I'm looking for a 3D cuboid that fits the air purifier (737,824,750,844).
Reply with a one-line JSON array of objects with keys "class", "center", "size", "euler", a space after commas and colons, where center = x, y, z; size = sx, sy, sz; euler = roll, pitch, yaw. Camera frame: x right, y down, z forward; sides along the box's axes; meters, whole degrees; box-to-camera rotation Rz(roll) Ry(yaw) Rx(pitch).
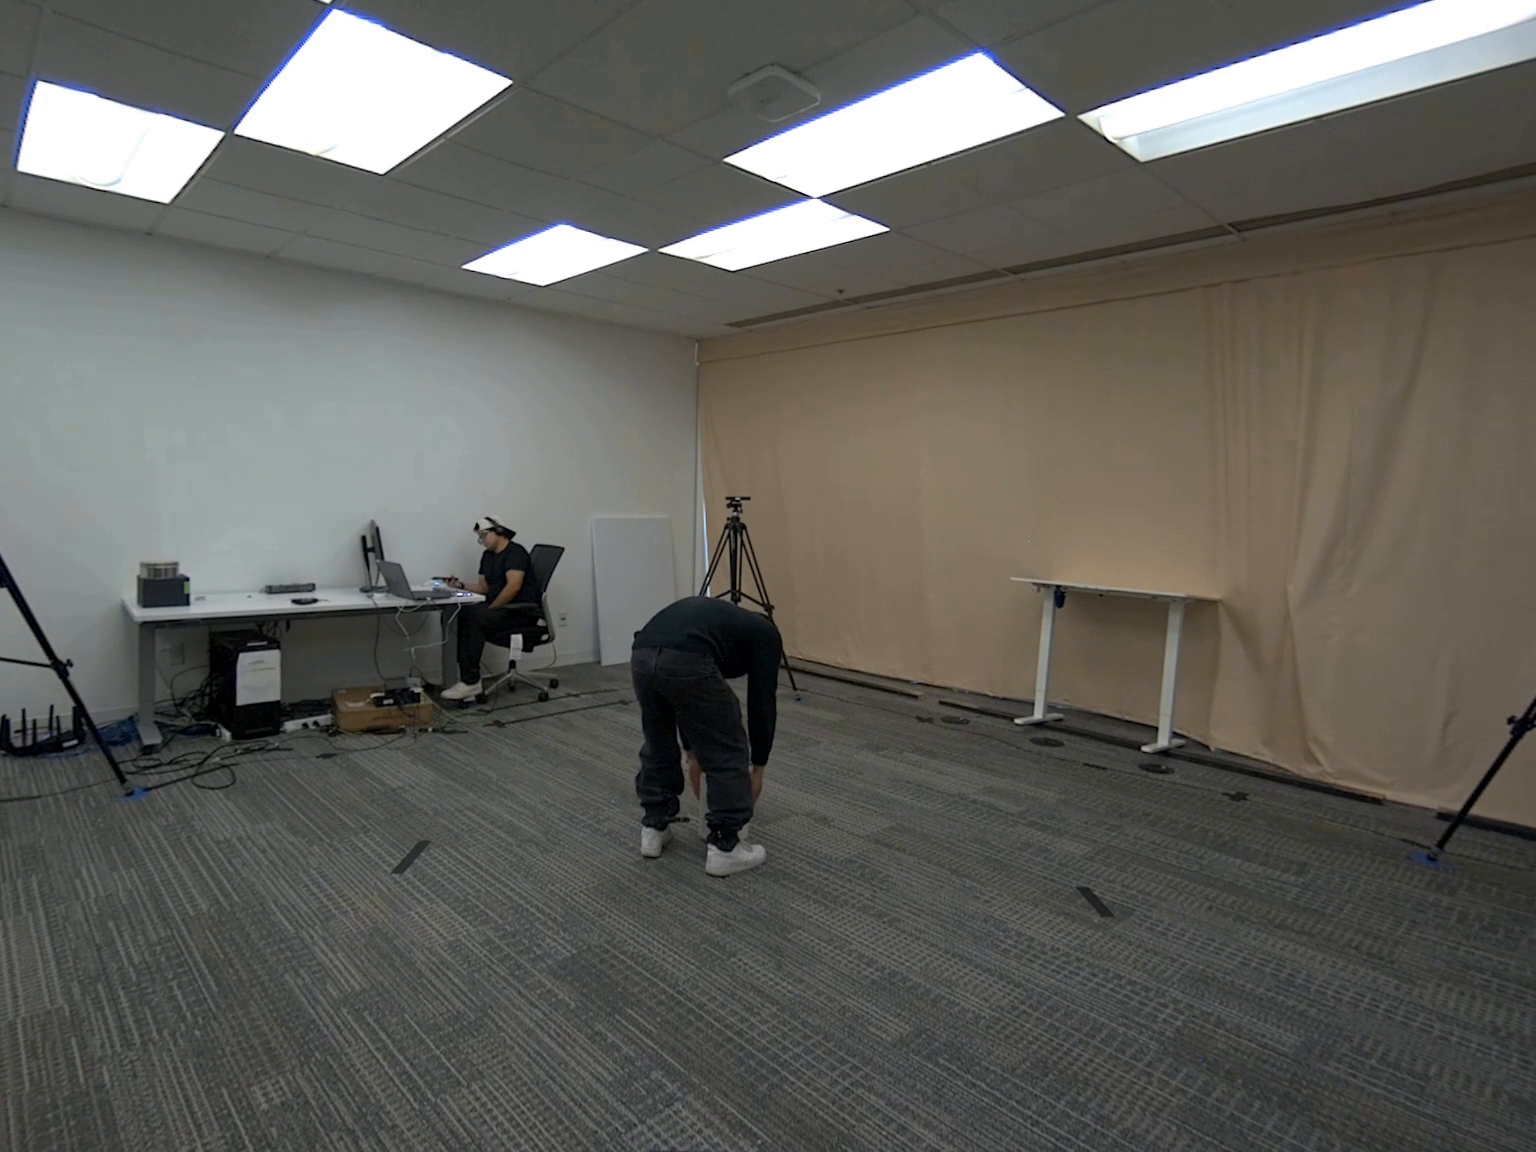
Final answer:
[{"class": "air purifier", "center": [-0.189, 0.950, 3.430], "size": [0.167, 0.265, 0.176], "euler": [0, 3, -42]}]
